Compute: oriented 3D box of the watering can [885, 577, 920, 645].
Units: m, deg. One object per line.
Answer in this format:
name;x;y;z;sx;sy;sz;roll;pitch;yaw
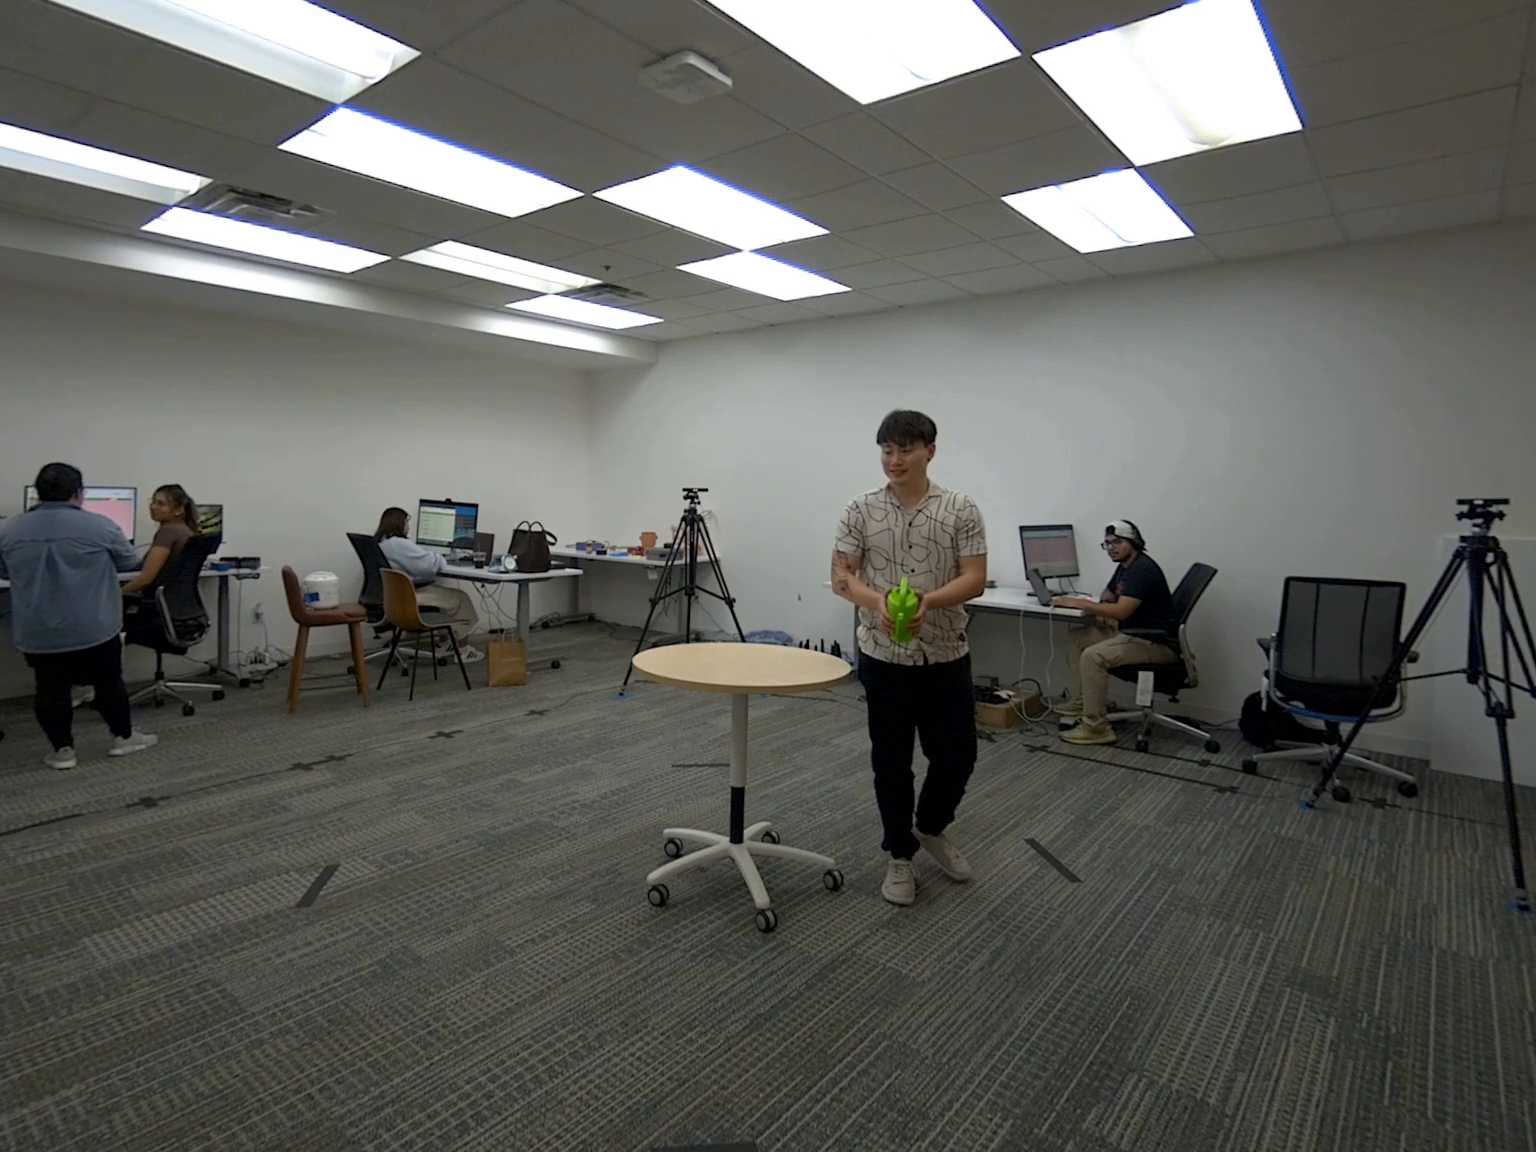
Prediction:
watering can;0.402;0.126;2.667;0.100;0.173;0.278;13;31;18
